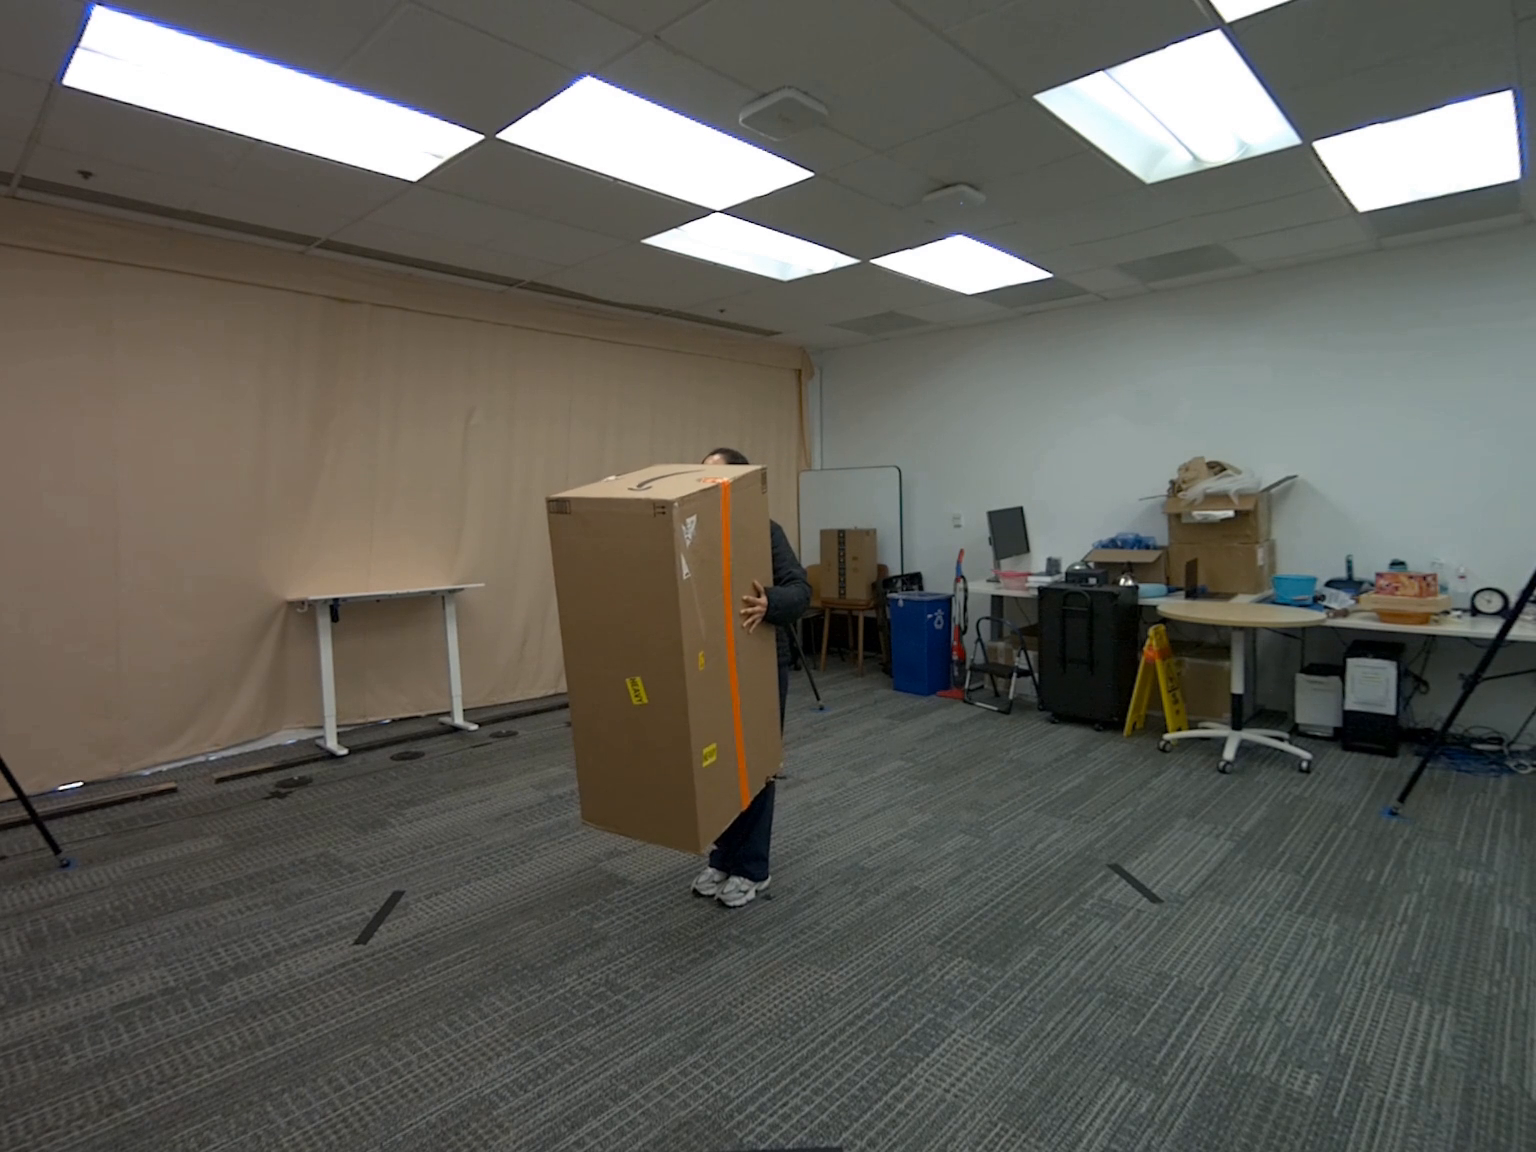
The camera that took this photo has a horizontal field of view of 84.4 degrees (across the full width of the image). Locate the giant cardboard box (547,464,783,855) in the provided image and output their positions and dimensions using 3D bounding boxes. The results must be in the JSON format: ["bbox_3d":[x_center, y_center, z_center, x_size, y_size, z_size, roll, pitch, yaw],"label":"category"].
[{"bbox_3d":[-0.275,0.211,2.593,0.438,1.016,0.567,4,15,27],"label":"giant cardboard box"}]
